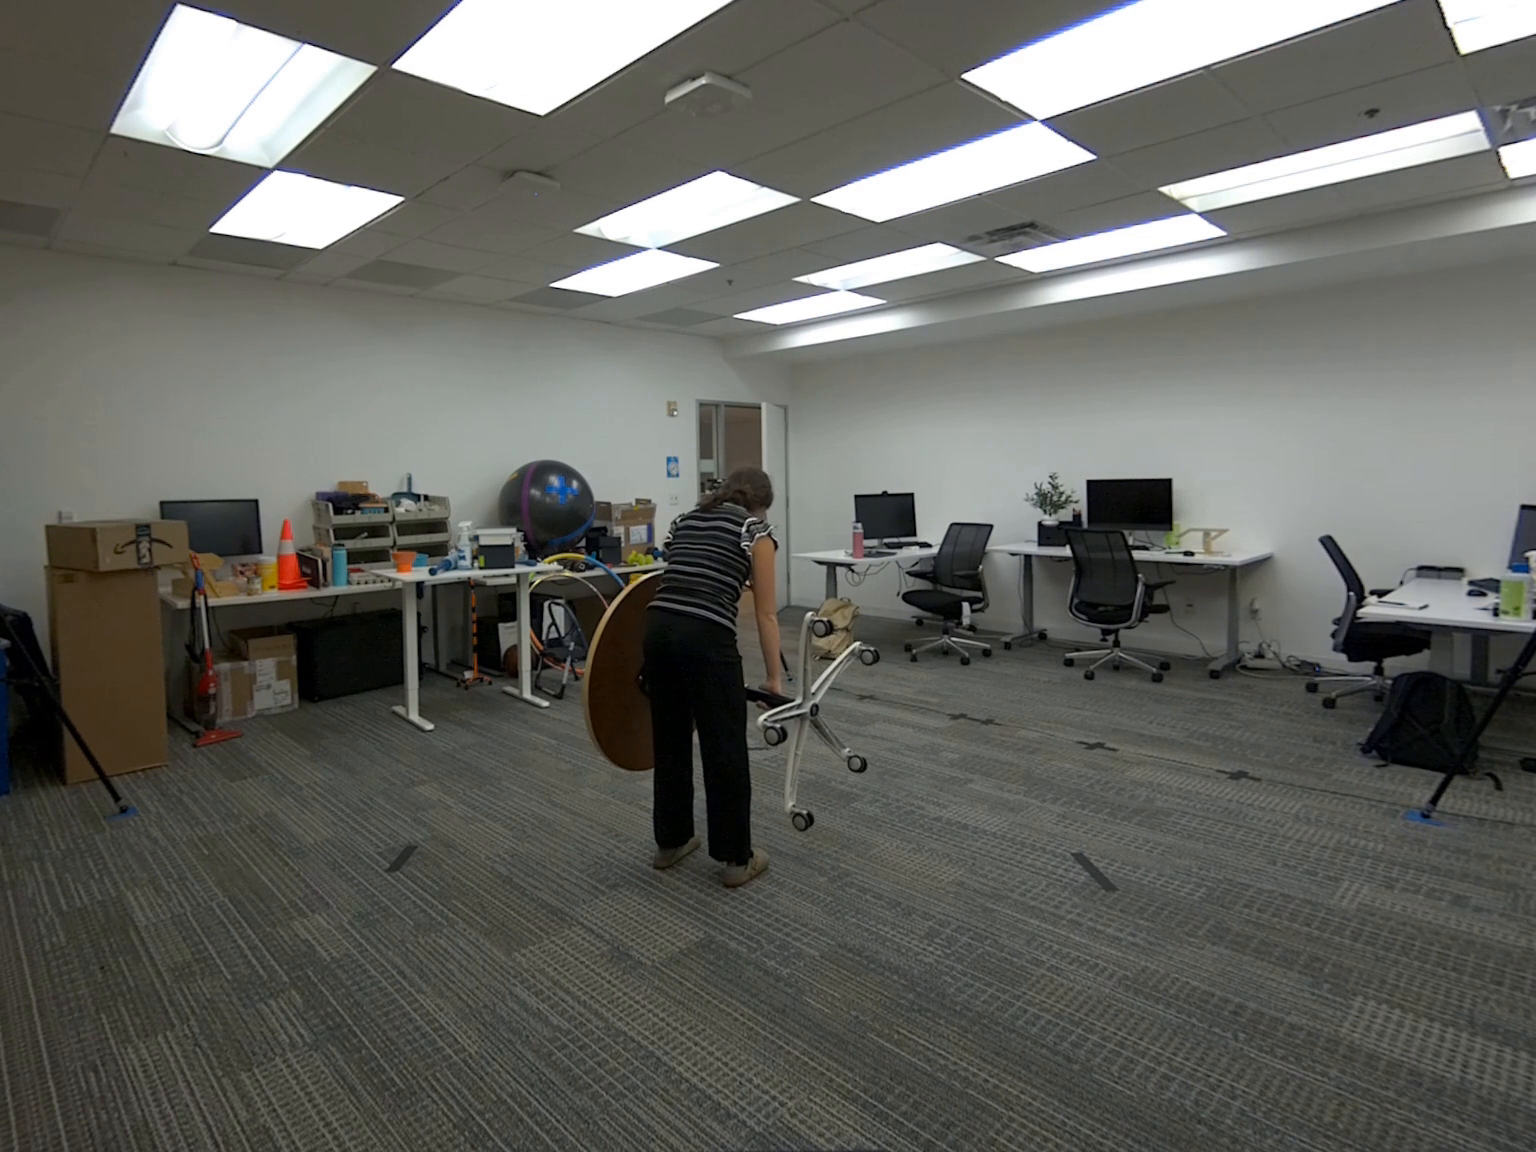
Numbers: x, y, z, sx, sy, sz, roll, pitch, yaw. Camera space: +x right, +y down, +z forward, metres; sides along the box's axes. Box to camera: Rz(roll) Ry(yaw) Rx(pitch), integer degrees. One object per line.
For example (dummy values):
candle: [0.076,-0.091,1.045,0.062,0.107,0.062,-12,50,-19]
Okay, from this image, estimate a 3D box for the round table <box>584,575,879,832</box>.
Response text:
round table: [-0.103,0.424,3.052,0.818,0.759,0.745,8,9,34]
